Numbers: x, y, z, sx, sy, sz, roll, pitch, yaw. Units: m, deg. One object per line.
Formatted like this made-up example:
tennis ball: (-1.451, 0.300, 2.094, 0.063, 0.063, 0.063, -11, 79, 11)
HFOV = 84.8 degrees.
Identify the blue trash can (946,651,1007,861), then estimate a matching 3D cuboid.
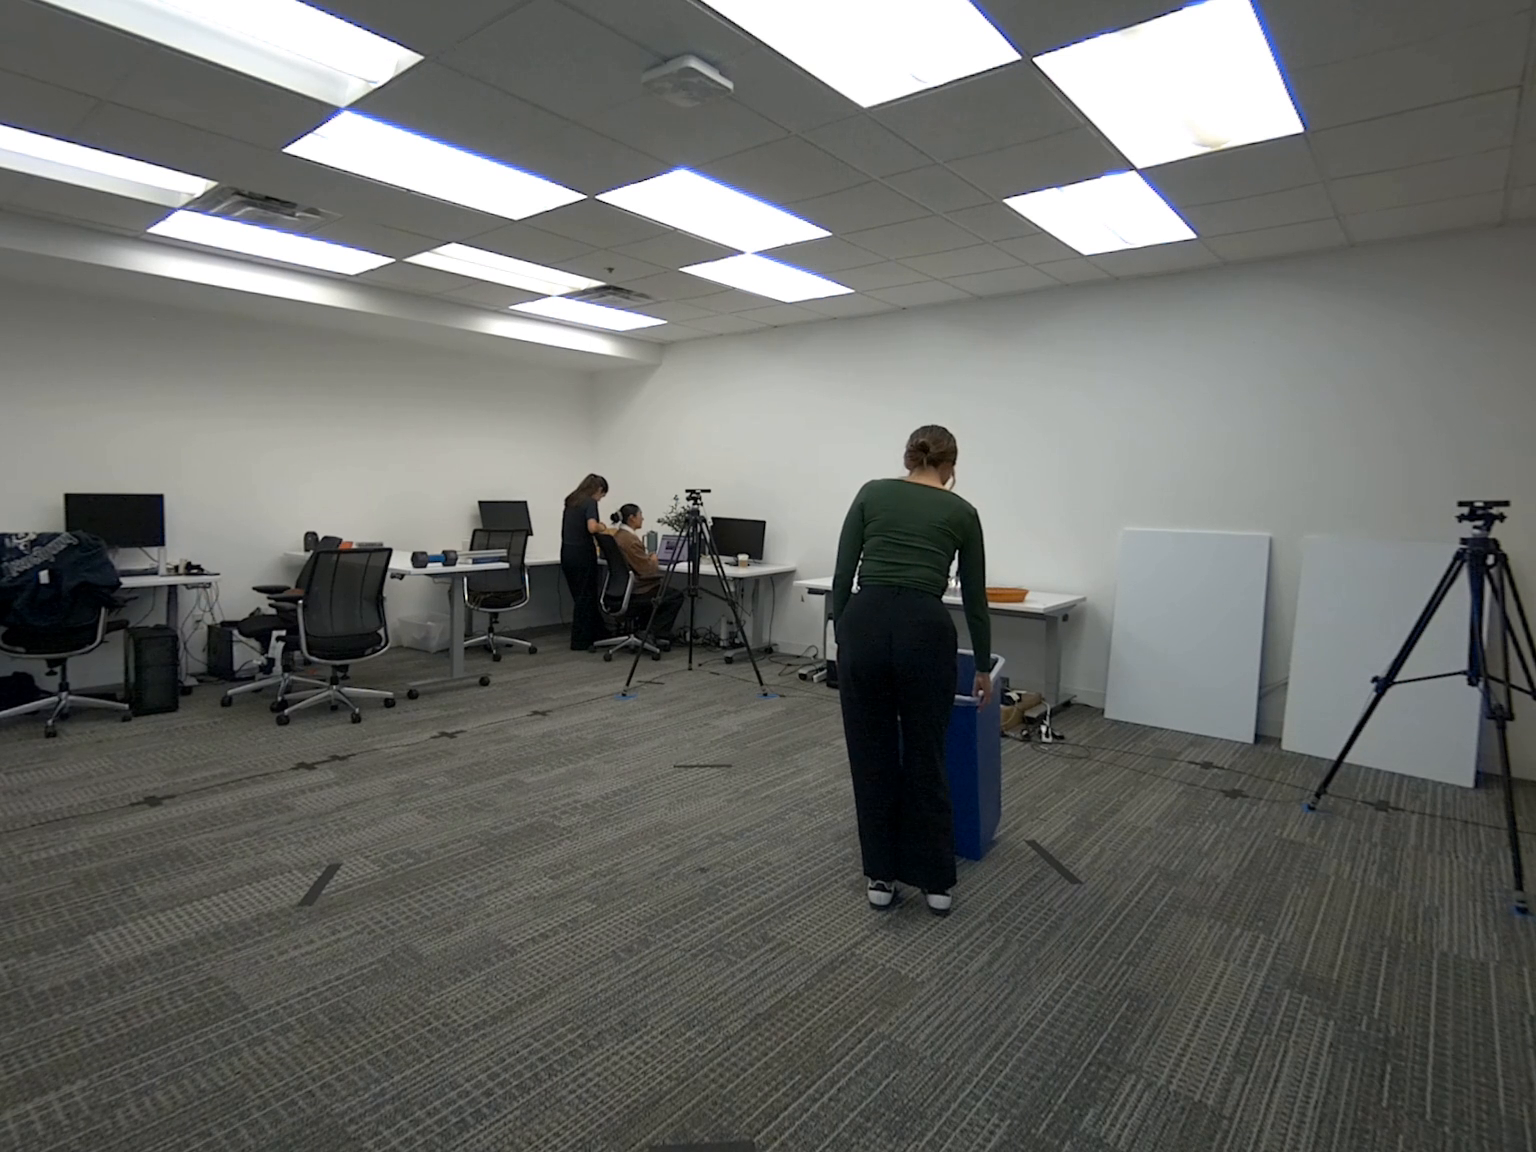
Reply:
blue trash can: (0.702, 0.686, 3.345, 0.390, 0.700, 0.370, 4, 22, 32)
